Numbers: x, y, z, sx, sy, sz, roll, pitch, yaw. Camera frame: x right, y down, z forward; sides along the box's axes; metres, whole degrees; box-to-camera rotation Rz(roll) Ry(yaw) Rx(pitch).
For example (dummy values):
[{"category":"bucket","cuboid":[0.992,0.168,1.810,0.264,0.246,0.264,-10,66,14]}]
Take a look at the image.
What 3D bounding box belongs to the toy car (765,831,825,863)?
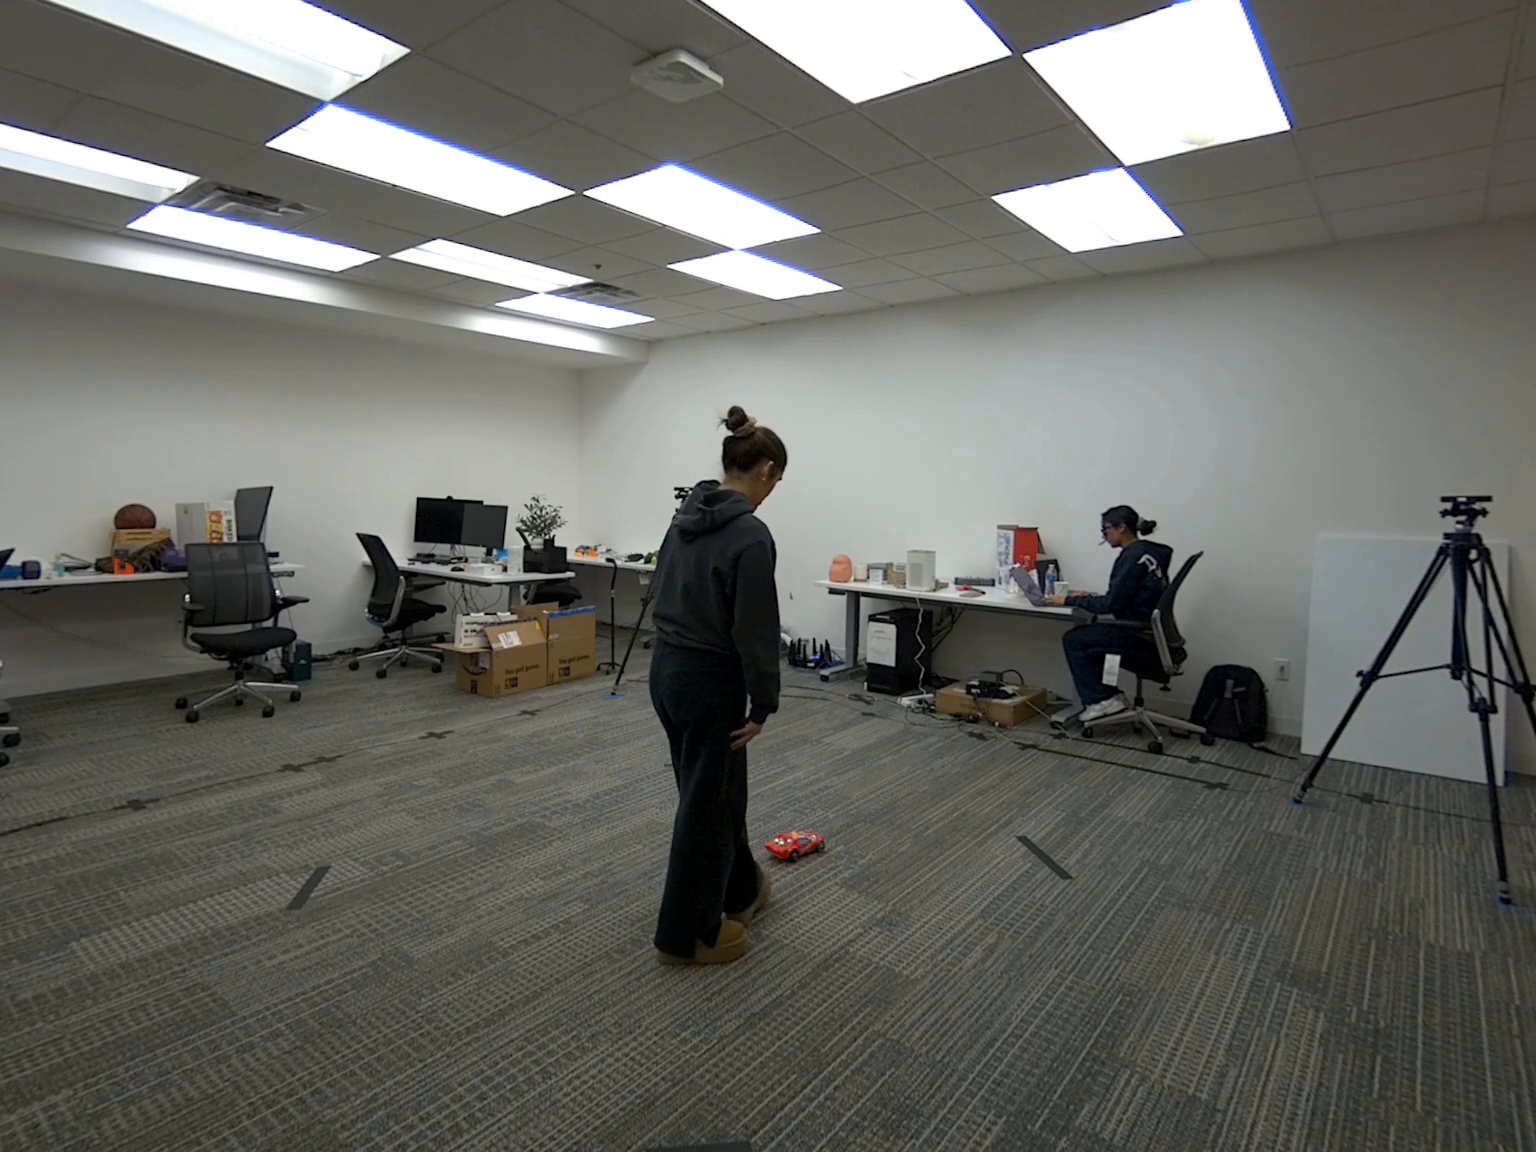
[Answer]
[{"category":"toy car","cuboid":[0.102,1.024,3.251,0.245,0.083,0.135,11,-3,-40]}]
